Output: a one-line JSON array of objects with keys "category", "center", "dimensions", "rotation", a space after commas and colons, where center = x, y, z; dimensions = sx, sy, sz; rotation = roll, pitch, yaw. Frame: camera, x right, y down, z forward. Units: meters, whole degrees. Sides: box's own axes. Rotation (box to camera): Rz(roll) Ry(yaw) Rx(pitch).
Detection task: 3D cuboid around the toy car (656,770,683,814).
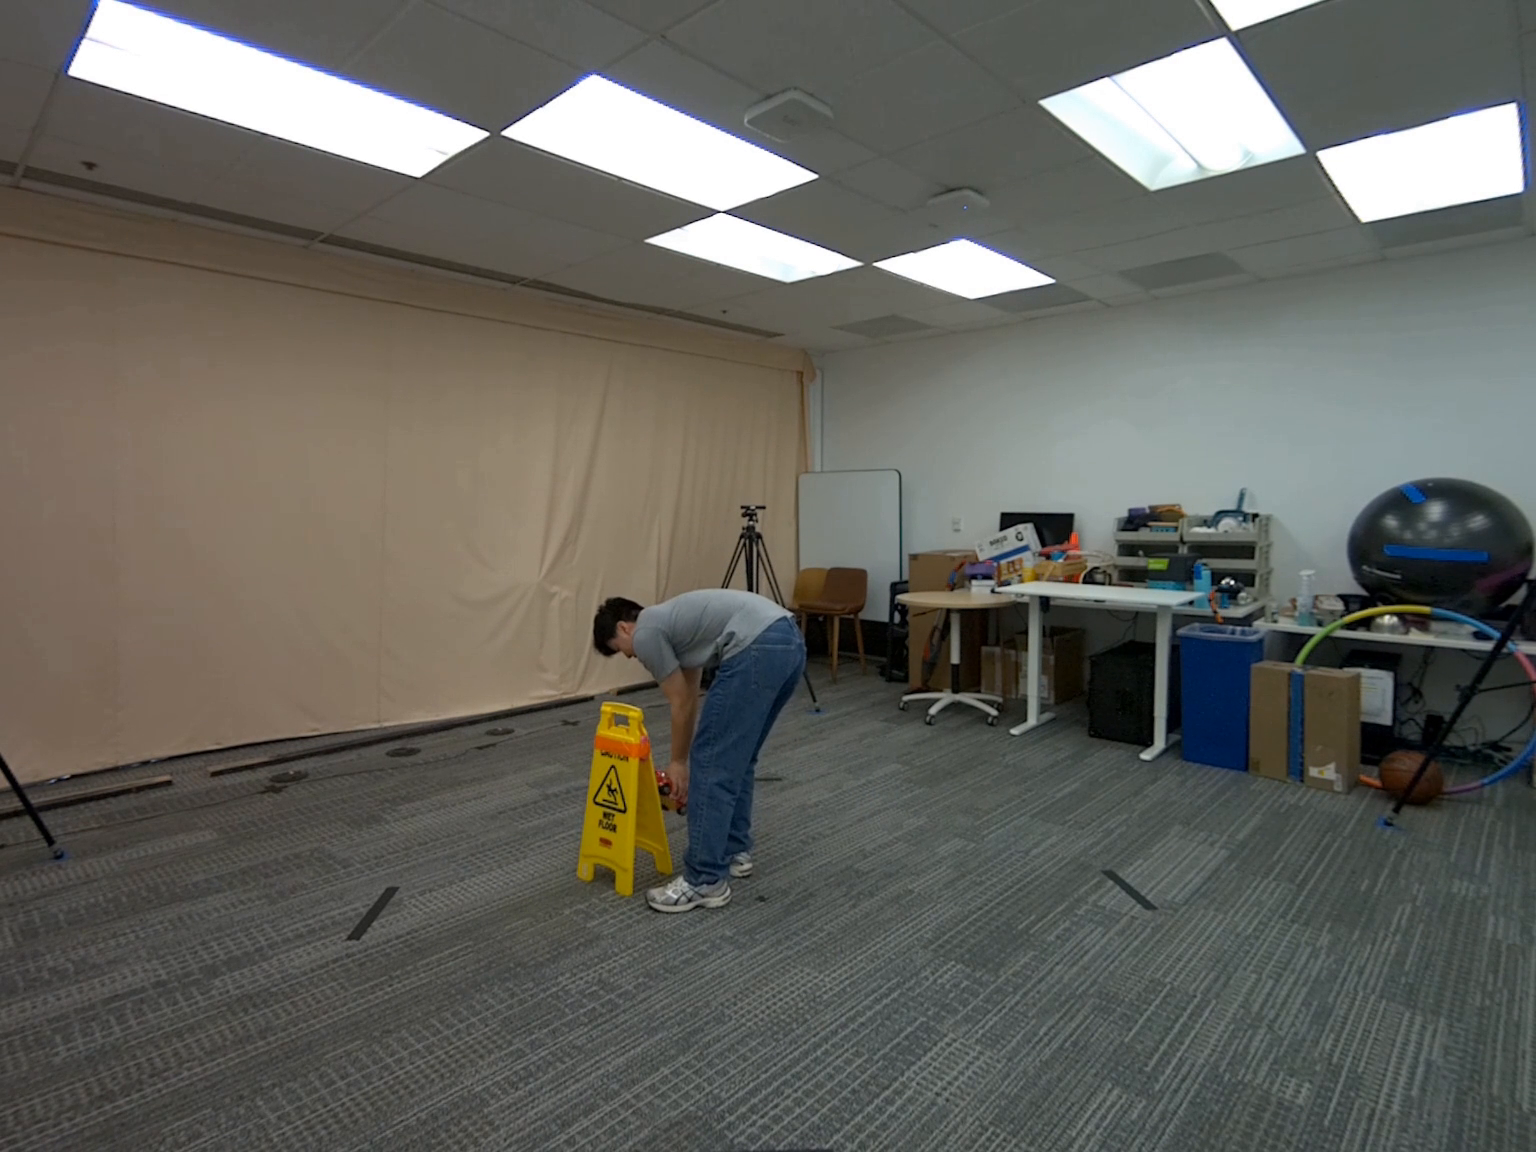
[{"category": "toy car", "center": [-0.415, 0.834, 3.217], "dimensions": [0.134, 0.249, 0.082], "rotation": [0, 32, 37]}]
